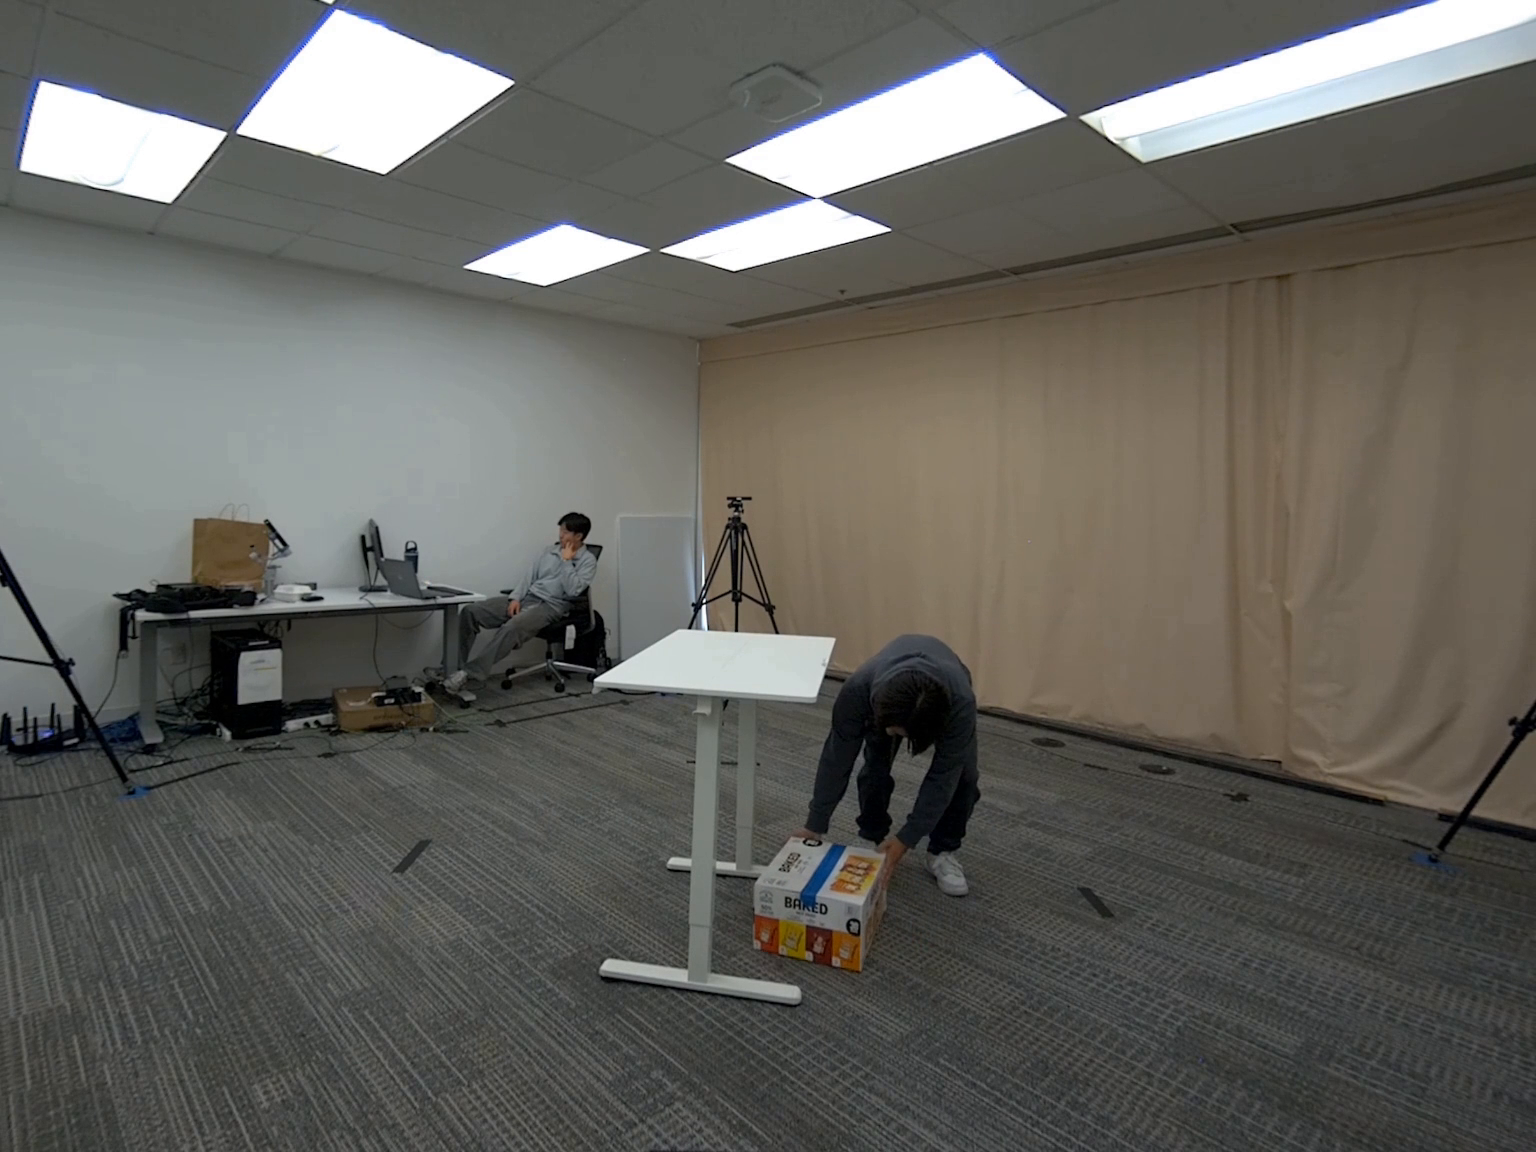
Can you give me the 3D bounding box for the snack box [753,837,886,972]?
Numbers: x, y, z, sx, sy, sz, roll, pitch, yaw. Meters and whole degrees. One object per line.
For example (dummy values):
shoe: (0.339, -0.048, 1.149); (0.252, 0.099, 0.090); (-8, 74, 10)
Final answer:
snack box: (0.178, 1.044, 2.719); (0.346, 0.205, 0.400); (2, 5, 20)
